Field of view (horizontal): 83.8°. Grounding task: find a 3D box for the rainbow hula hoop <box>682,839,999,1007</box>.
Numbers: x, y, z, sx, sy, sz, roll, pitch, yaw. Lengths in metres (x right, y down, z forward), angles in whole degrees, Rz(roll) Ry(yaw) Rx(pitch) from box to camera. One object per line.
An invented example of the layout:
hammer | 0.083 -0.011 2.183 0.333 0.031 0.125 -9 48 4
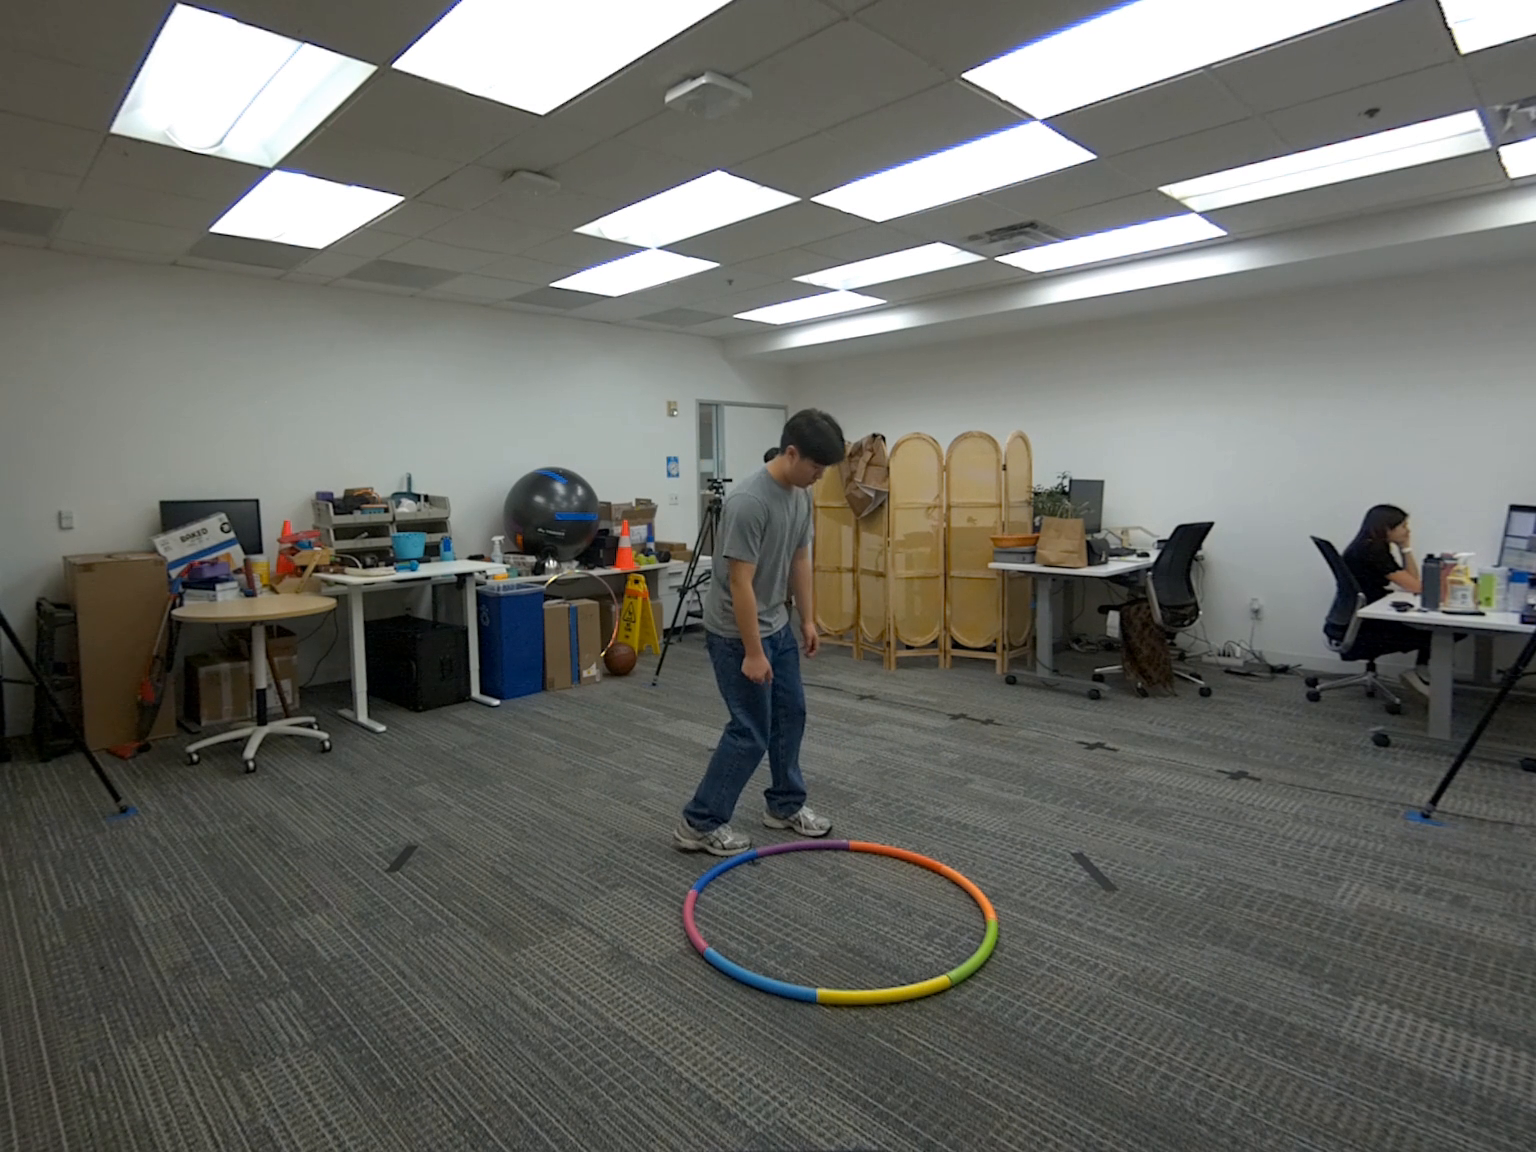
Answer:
rainbow hula hoop | 0.216 1.055 2.739 0.978 0.035 0.984 -1 7 -2
